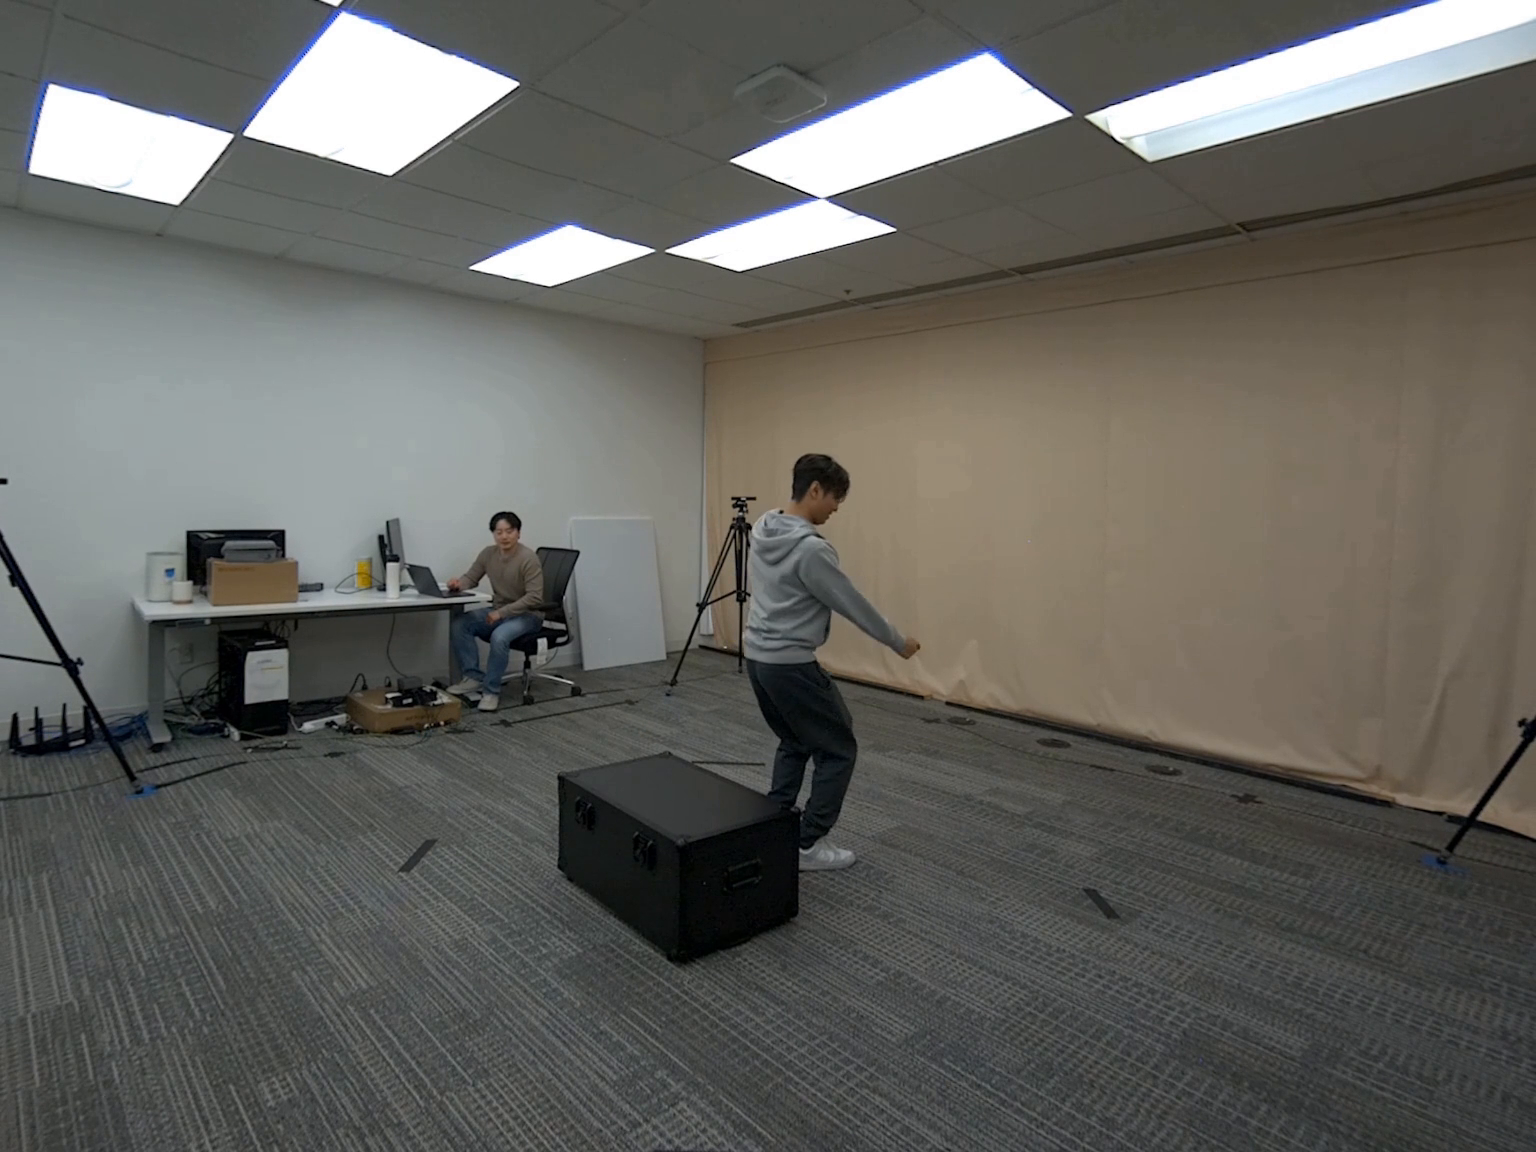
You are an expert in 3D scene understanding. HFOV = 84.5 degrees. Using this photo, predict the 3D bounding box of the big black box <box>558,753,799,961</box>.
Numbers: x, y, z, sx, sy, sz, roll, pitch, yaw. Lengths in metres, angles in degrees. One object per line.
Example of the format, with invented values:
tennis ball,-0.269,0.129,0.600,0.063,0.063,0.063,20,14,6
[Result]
big black box,-0.357,0.927,2.933,0.509,0.395,0.884,-2,6,-40
